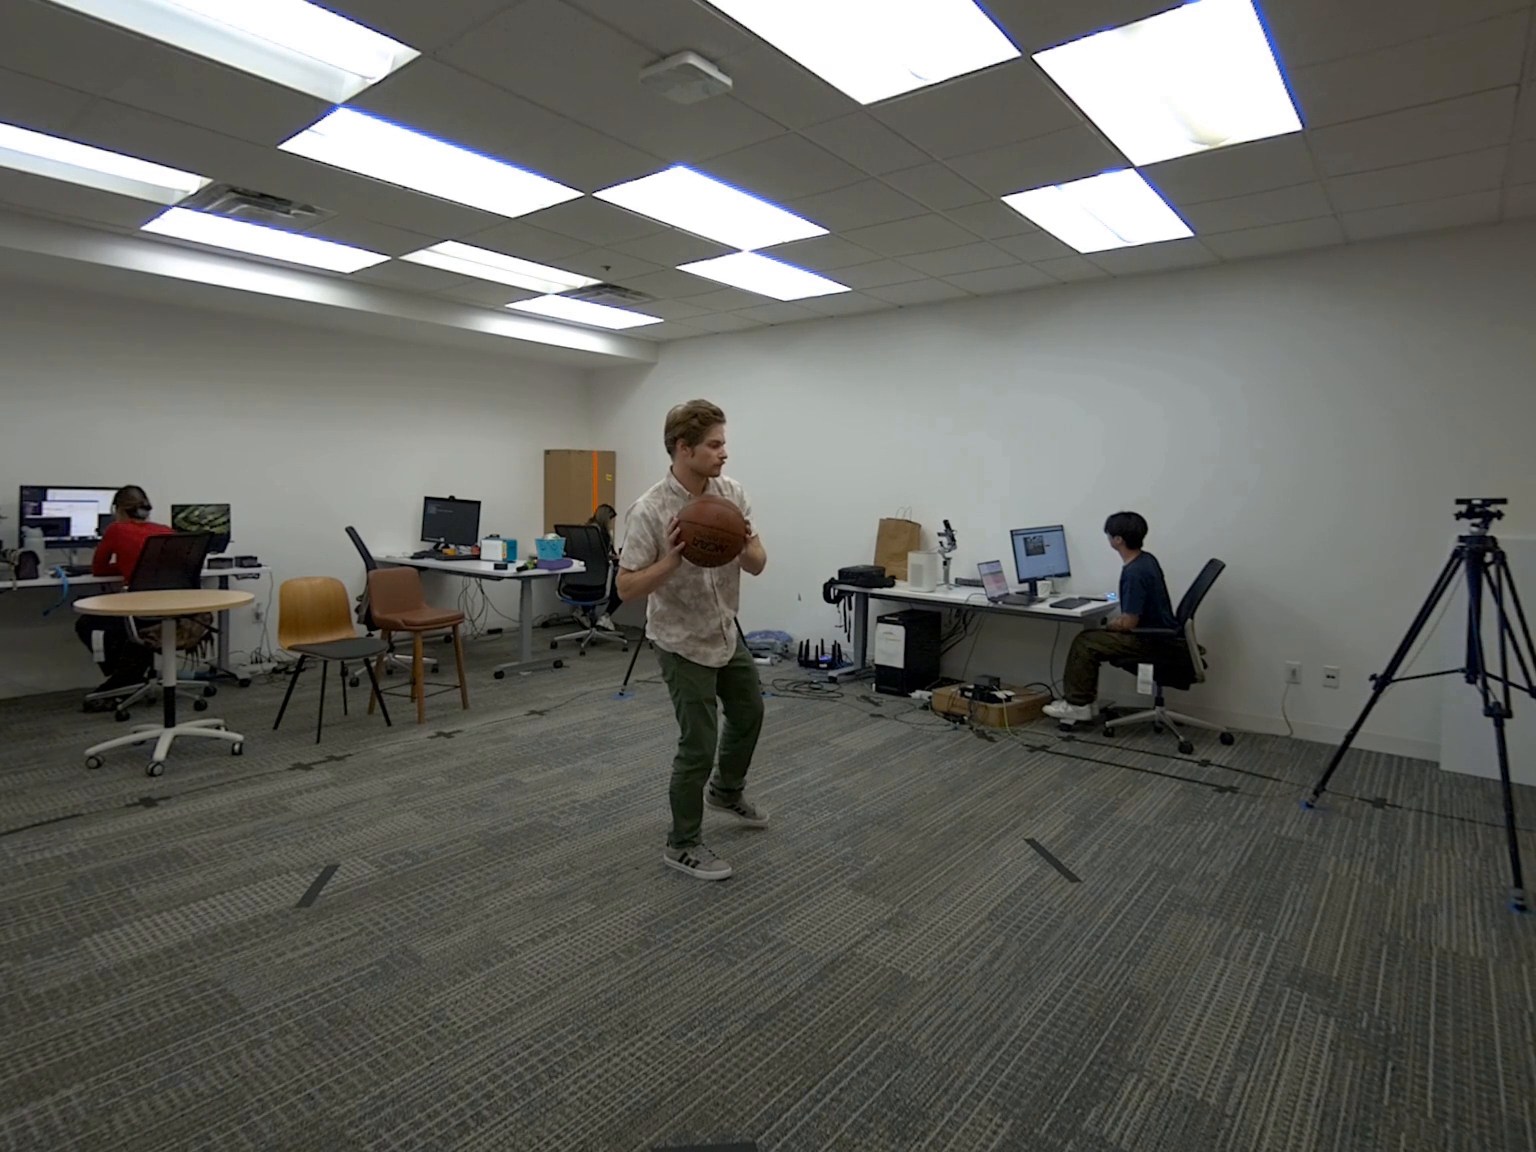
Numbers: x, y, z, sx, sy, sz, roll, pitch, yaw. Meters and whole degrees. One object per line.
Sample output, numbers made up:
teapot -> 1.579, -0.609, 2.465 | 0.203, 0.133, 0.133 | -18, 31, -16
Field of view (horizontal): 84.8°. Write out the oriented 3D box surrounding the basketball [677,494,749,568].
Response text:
basketball -> -0.192, -0.149, 2.761 | 0.236, 0.235, 0.237 | 1, 4, -2
